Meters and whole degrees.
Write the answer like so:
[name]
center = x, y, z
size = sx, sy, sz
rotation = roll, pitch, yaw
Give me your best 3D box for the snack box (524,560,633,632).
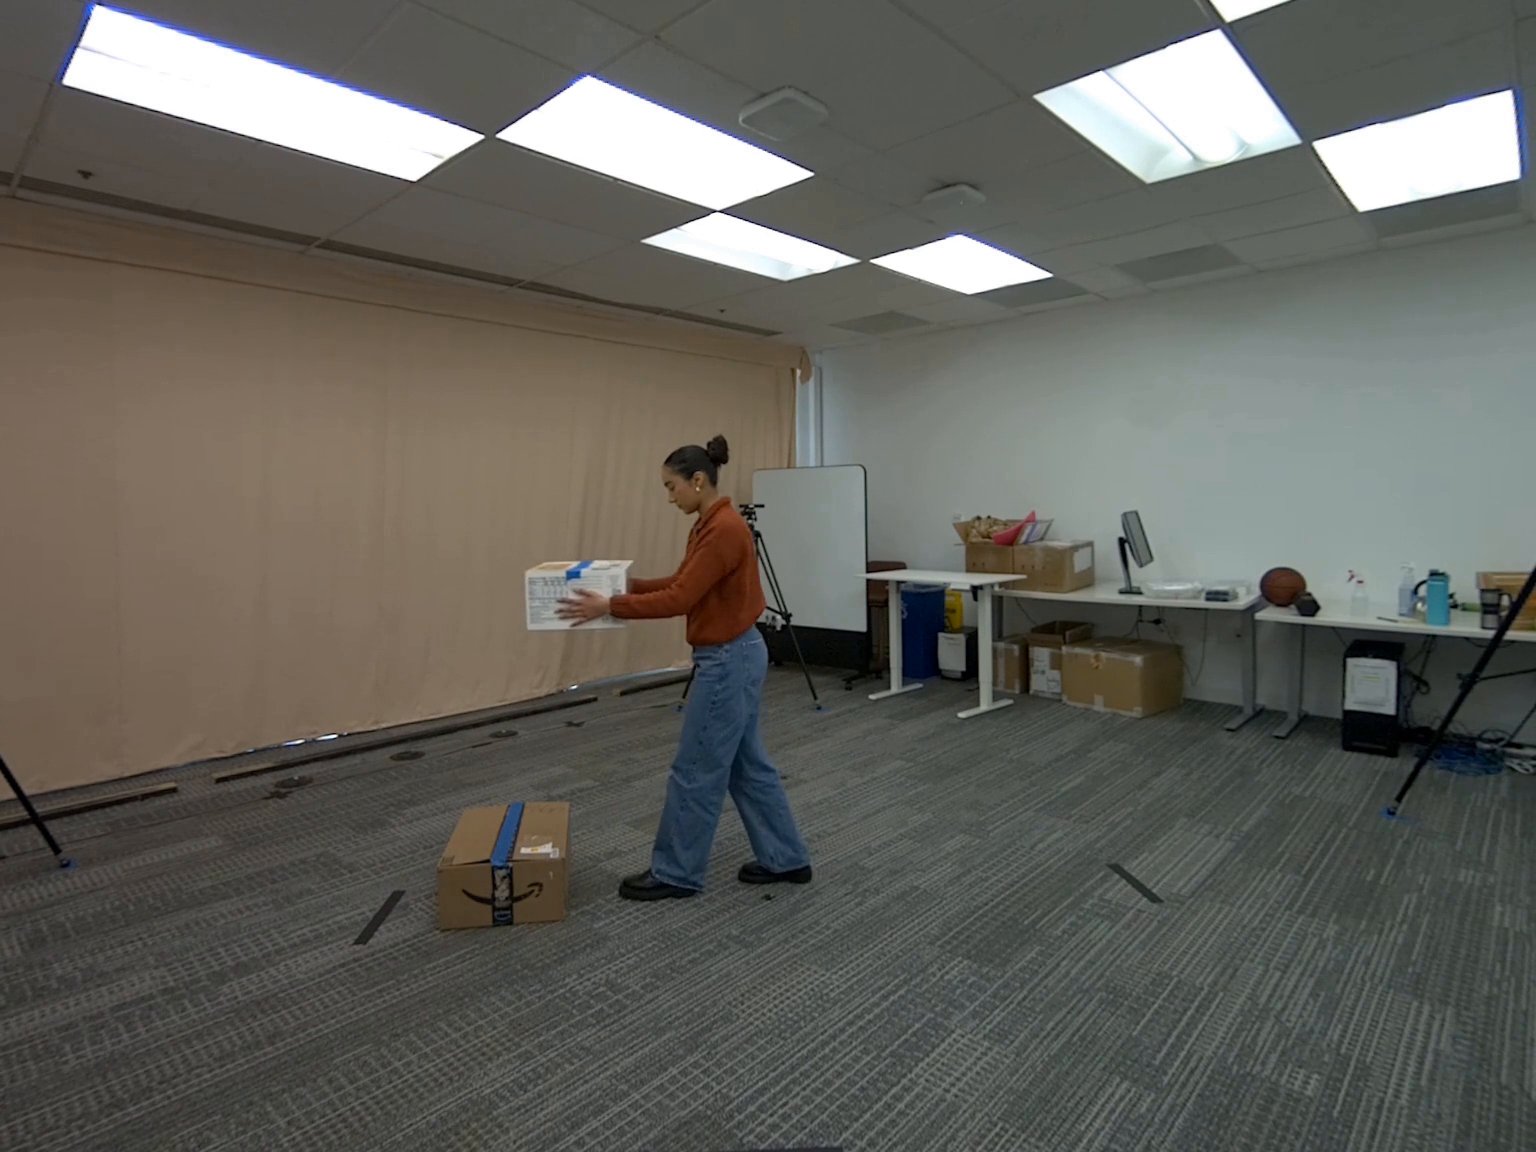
[snack box]
center = -0.661, 0.068, 3.039
size = 0.339, 0.205, 0.408
rotation = -2, 5, -4
